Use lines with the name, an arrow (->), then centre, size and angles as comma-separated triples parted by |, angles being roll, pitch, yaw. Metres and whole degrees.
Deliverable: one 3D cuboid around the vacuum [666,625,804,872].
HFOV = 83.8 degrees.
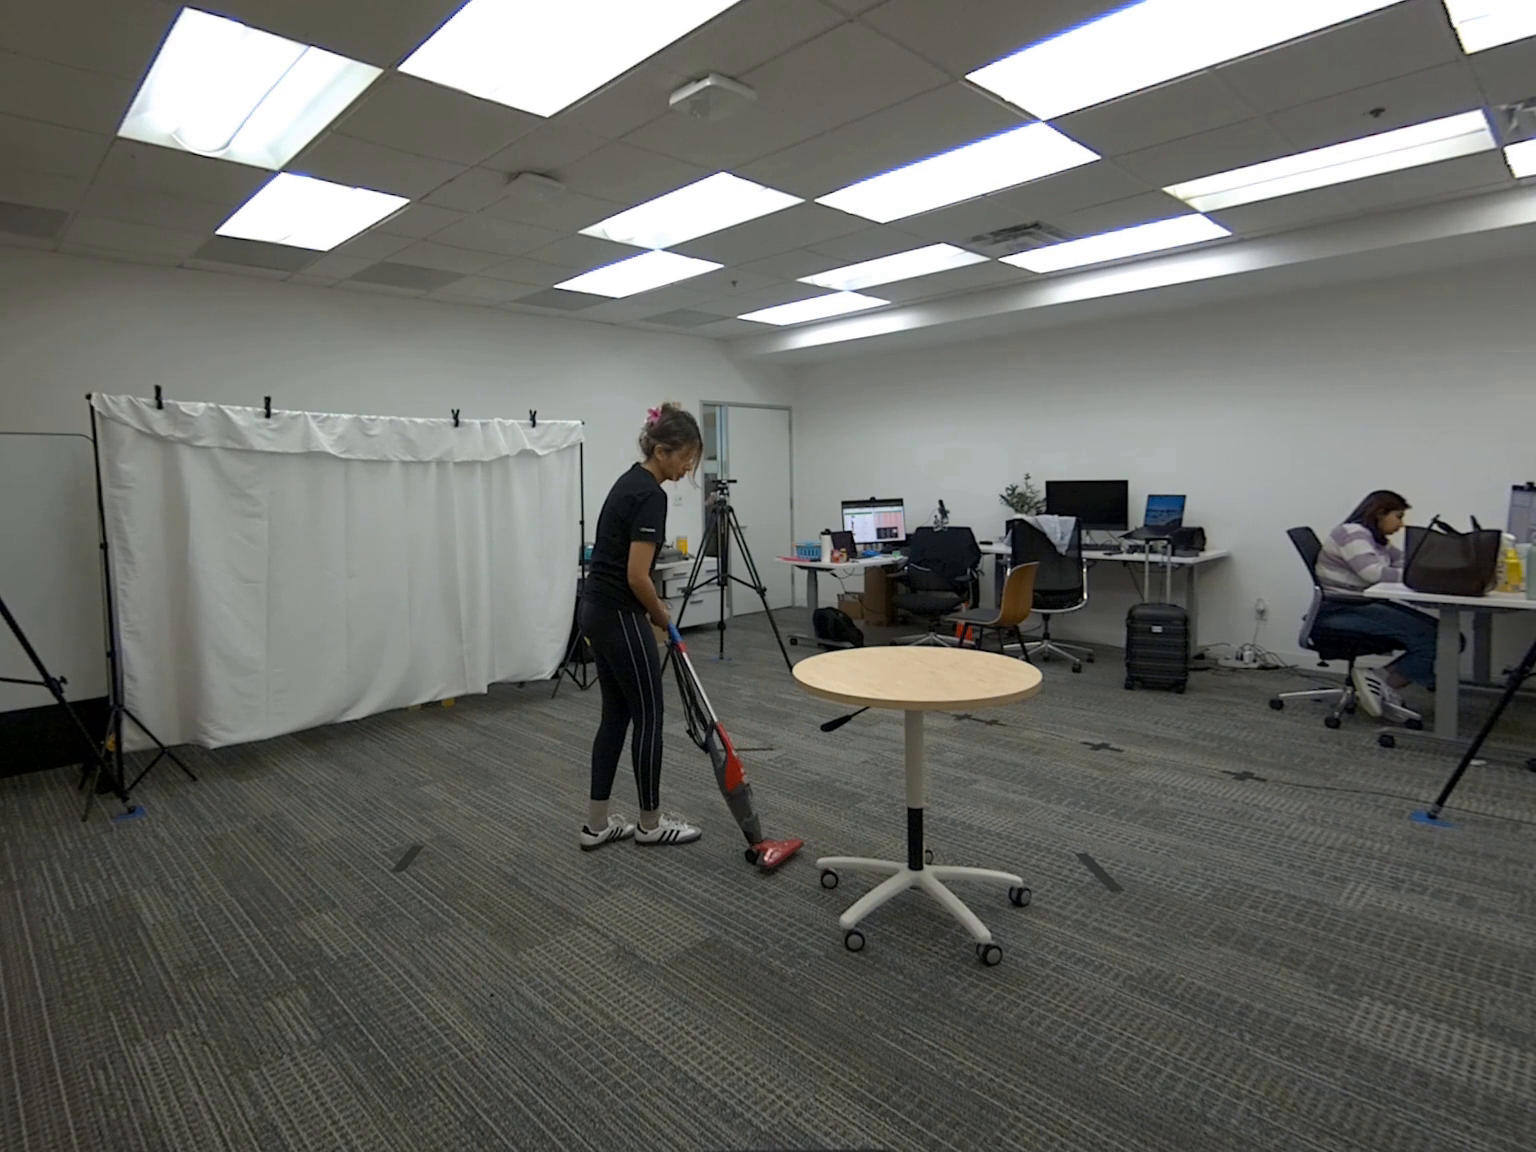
vacuum -> -0.212, 0.579, 3.270 | 0.145, 1.070, 0.246 | -35, -17, 23
